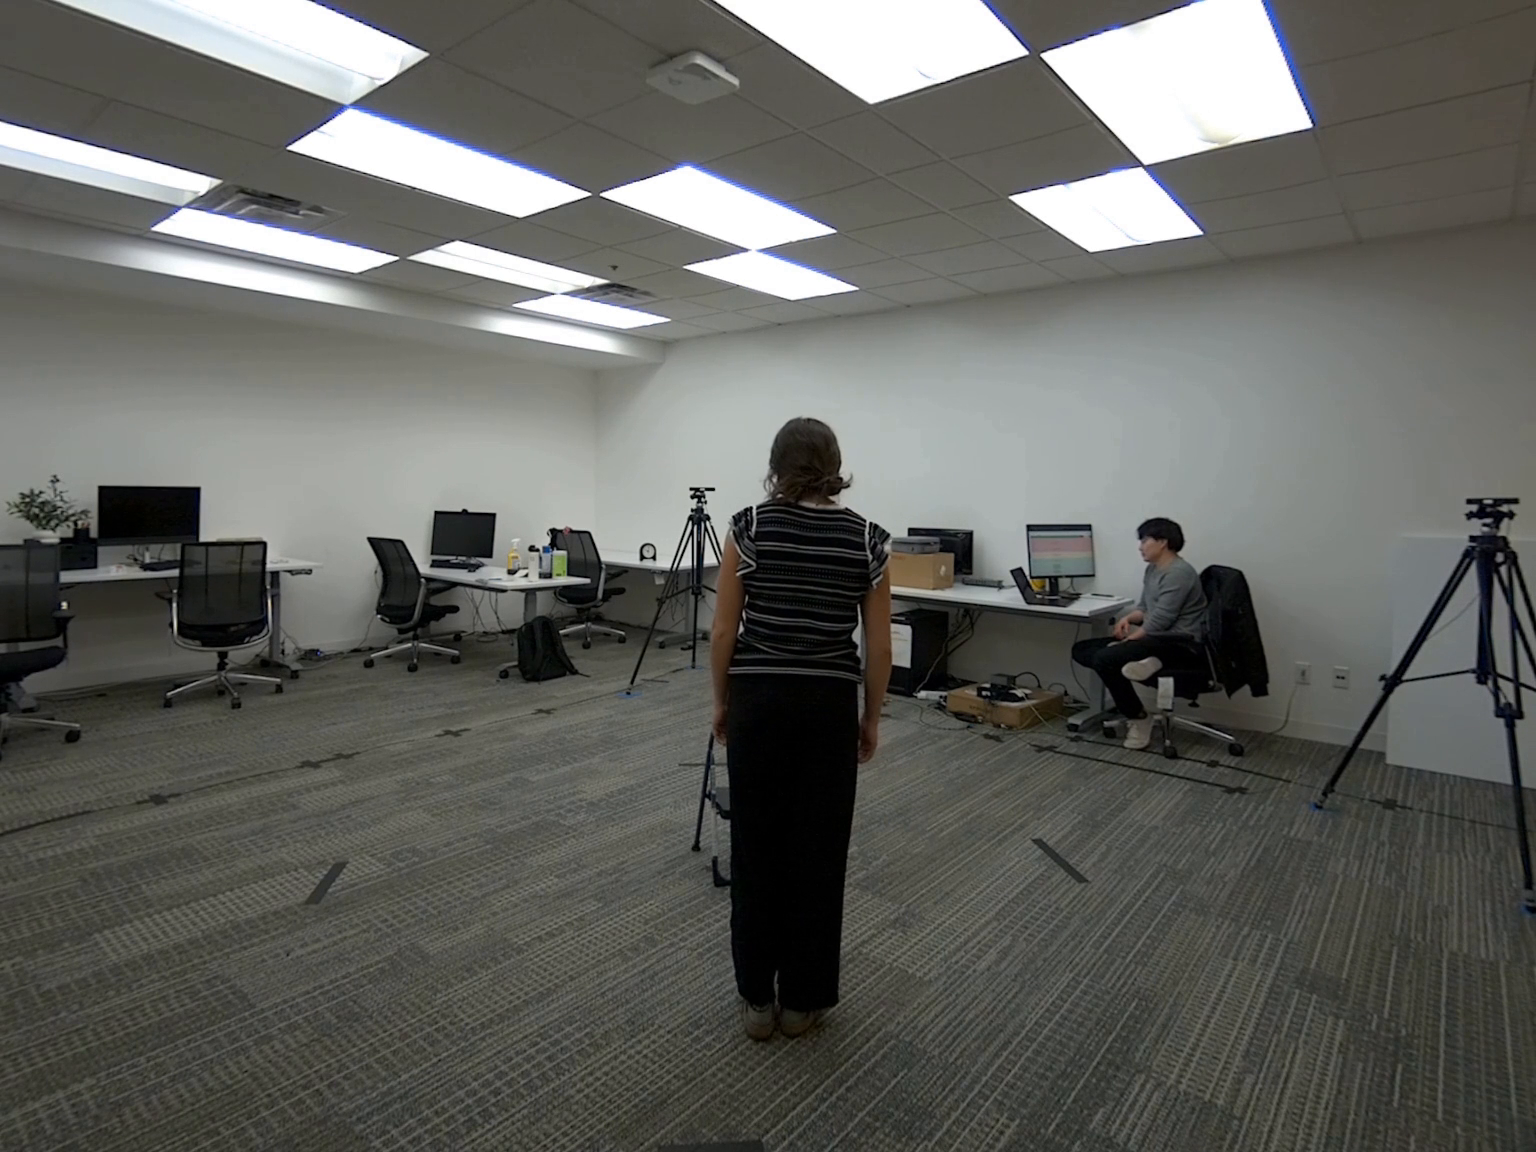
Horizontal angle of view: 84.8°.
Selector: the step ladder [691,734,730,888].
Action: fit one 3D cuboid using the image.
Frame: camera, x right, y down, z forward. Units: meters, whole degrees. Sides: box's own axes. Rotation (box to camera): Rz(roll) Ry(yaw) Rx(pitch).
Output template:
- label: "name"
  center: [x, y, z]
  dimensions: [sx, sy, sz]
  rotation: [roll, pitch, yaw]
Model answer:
- label: "step ladder"
  center: [-0.043, 0.761, 3.156]
  dimensions: [0.423, 0.604, 0.356]
  rotation: [0, 3, -17]
